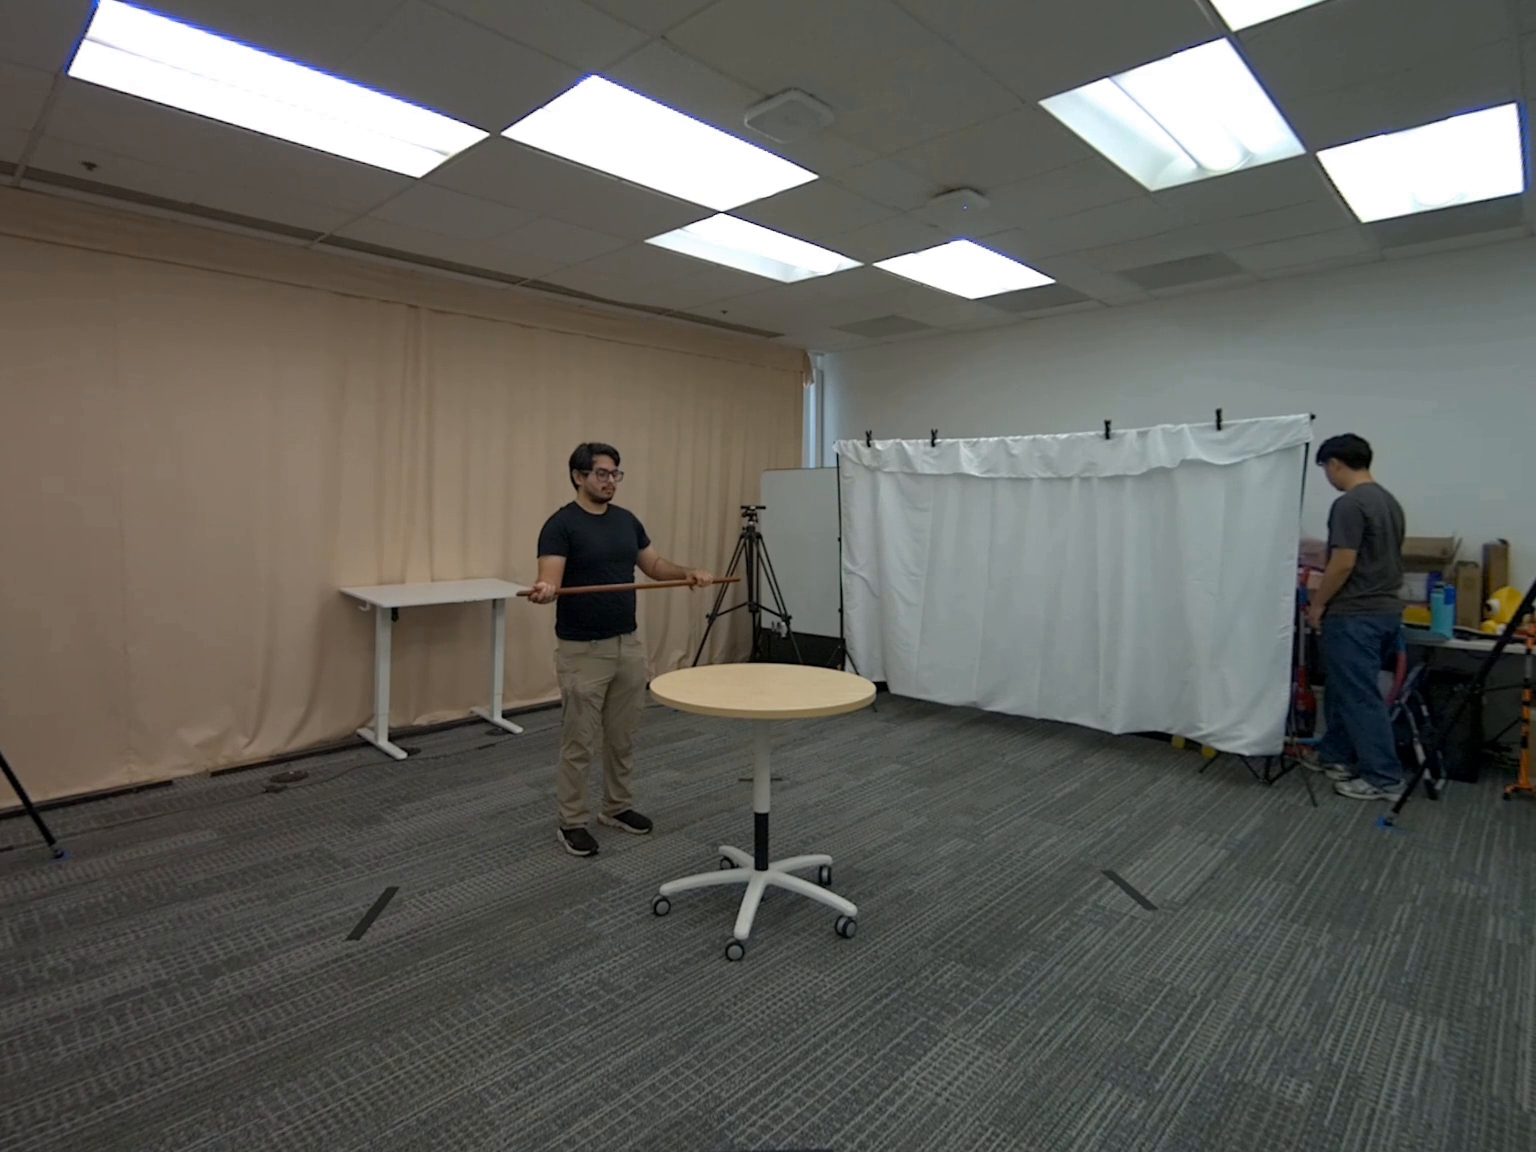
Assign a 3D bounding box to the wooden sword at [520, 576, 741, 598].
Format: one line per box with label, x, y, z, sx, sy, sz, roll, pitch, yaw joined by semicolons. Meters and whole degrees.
wooden sword;-0.436;0.035;3.249;0.995;0.052;0.024;-6;-18;-39
